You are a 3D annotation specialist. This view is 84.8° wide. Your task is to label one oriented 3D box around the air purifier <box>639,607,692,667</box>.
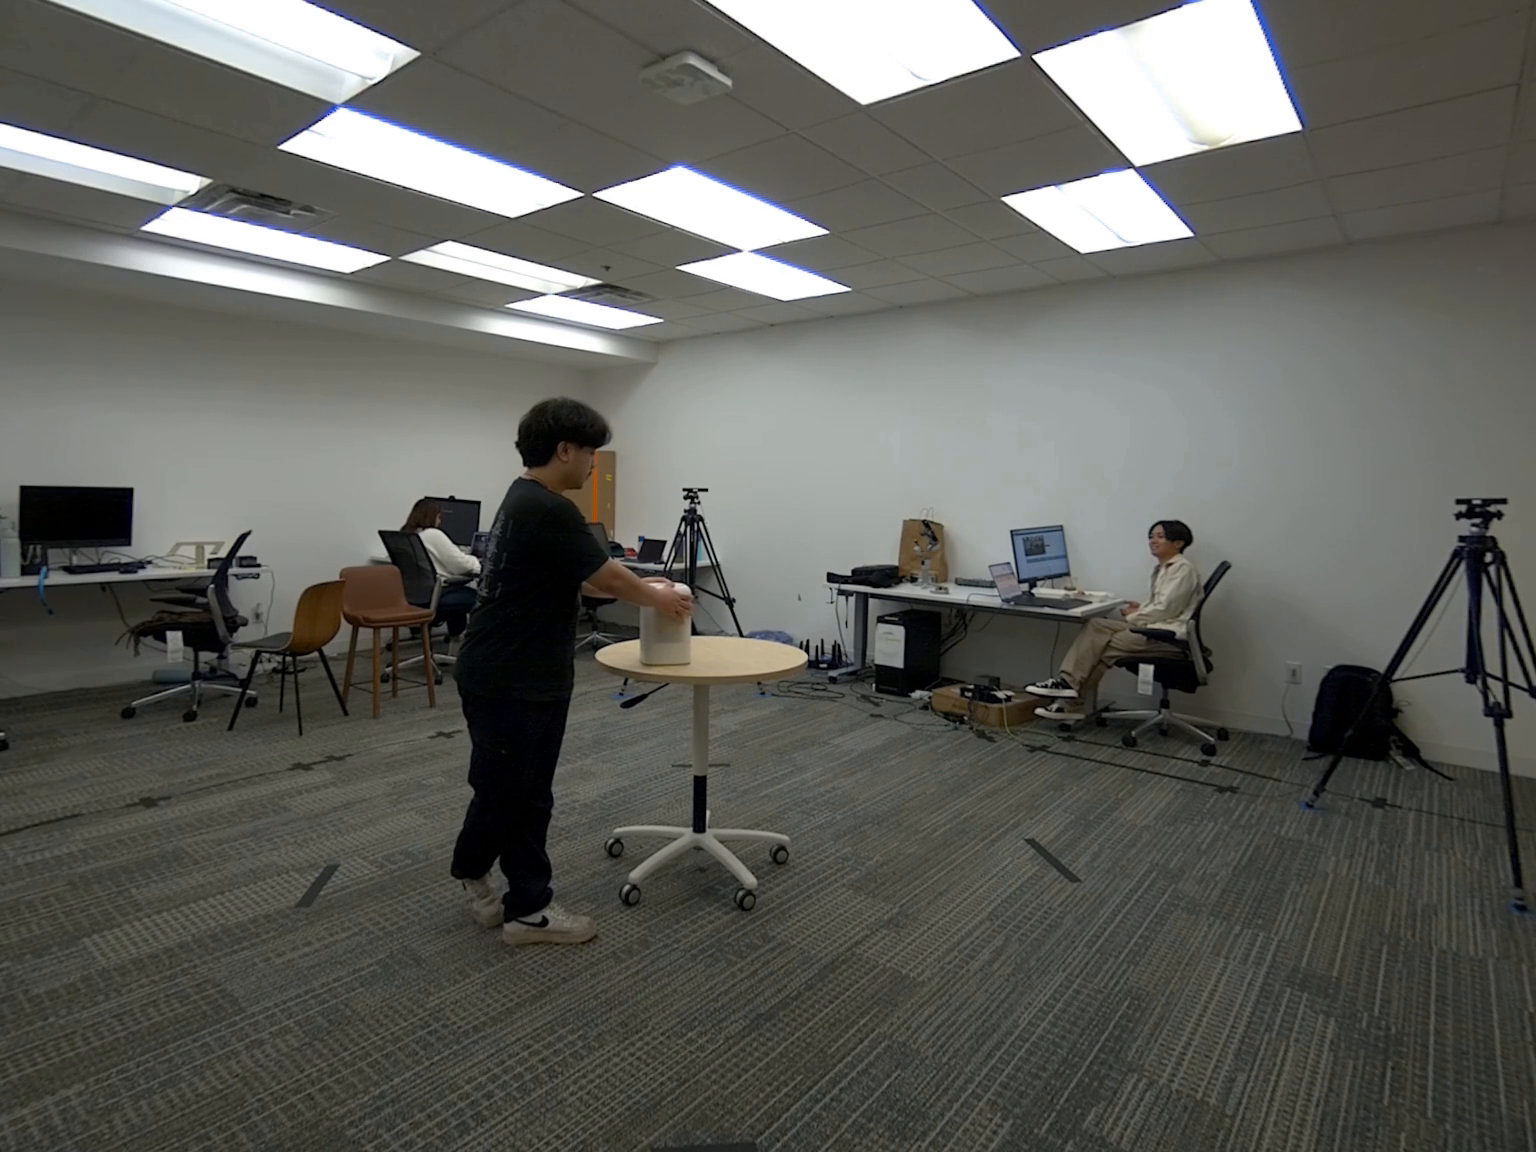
[{"bbox_3d":[-0.359,0.163,2.935,0.170,0.264,0.173,-1,4,-9],"label":"air purifier"}]
